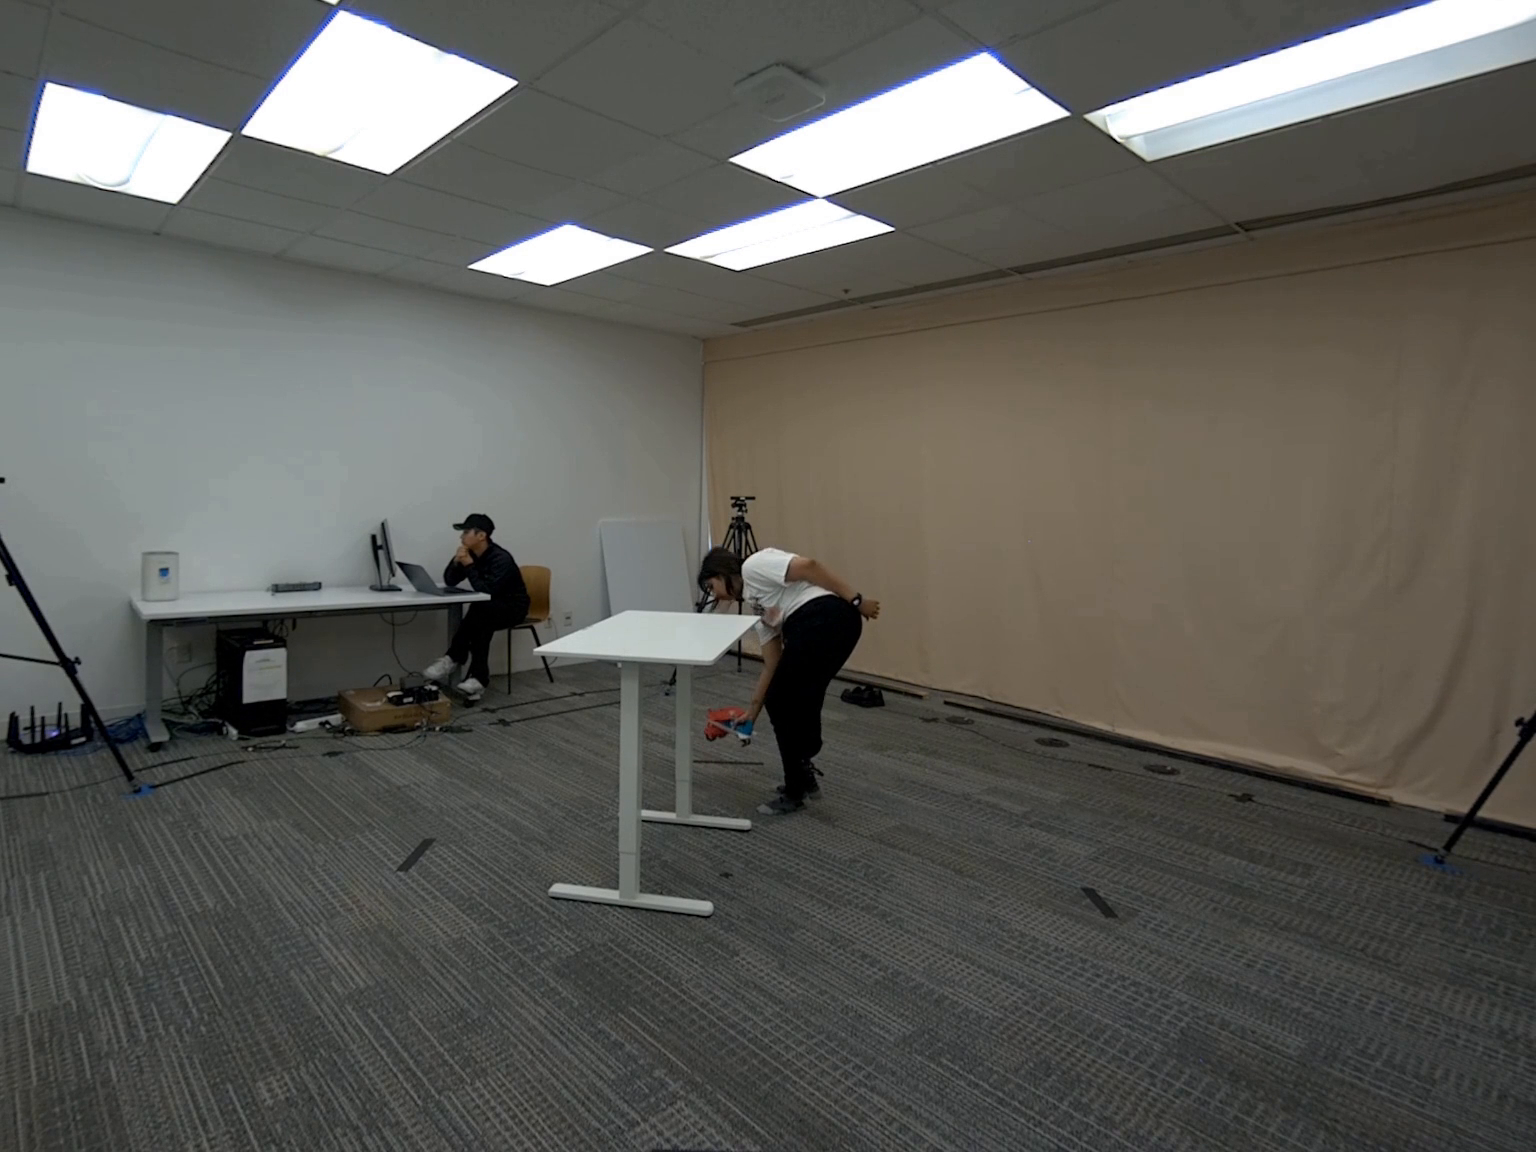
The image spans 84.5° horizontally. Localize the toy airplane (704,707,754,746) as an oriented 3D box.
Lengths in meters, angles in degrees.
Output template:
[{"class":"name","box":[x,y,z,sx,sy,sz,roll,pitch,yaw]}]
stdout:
[{"class":"toy airplane","box":[-0.192,0.737,4.189,0.261,0.156,0.250,2,5,7]}]
